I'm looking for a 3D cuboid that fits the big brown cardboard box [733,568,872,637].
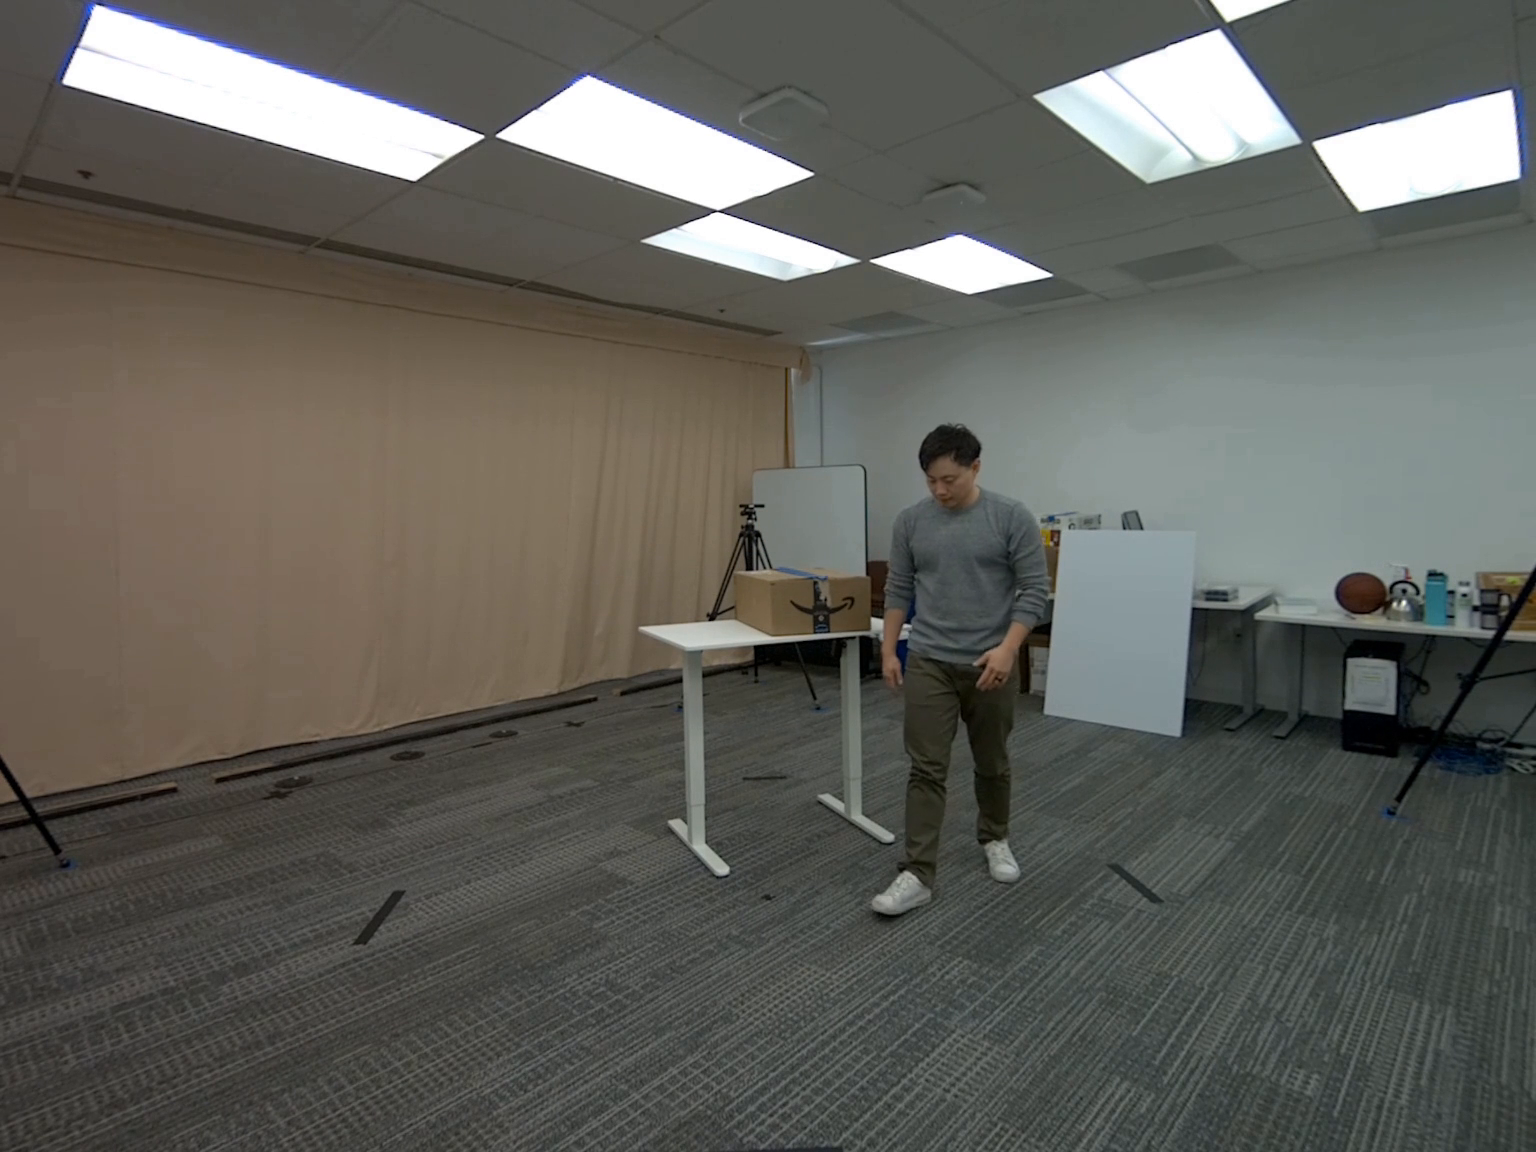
[{"bbox_3d":[0.122,0.096,3.562,0.411,0.232,0.600,-3,5,-16],"label":"big brown cardboard box"}]
